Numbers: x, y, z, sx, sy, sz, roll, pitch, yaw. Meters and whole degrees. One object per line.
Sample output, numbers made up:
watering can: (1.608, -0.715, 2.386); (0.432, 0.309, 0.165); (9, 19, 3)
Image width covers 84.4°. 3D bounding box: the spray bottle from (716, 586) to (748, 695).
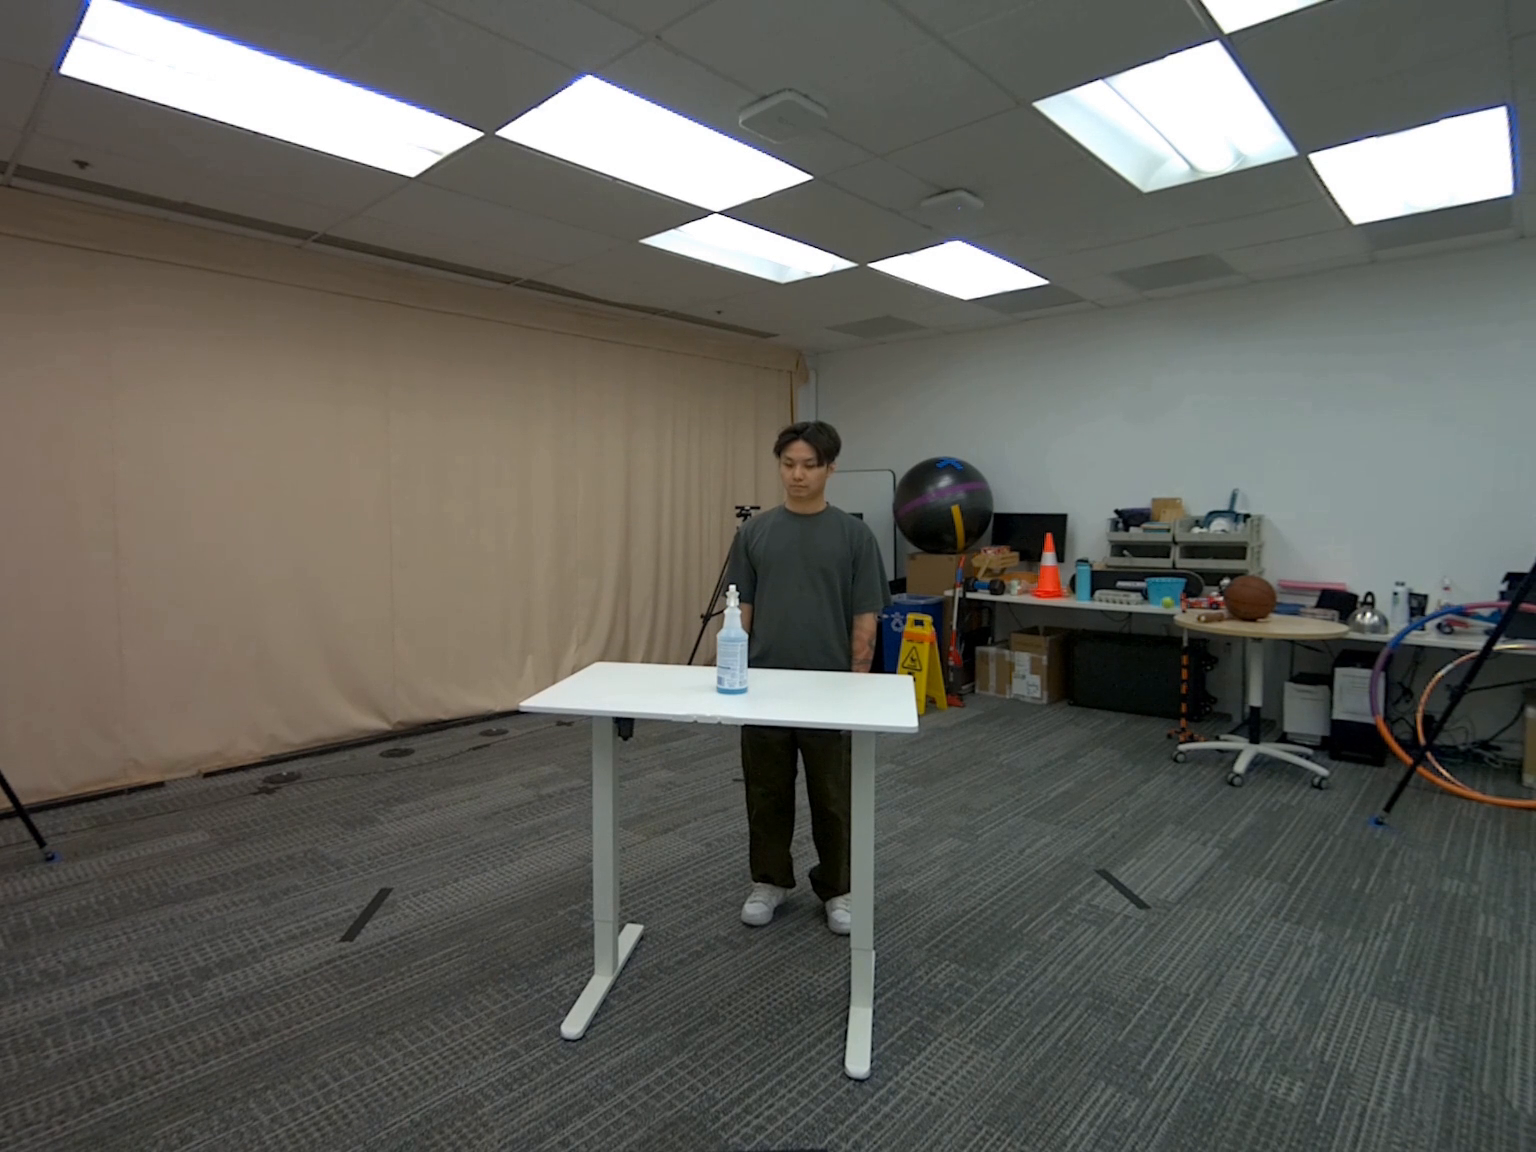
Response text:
spray bottle: (-0.094, 0.172, 2.315); (0.089, 0.296, 0.088); (3, 5, 24)
